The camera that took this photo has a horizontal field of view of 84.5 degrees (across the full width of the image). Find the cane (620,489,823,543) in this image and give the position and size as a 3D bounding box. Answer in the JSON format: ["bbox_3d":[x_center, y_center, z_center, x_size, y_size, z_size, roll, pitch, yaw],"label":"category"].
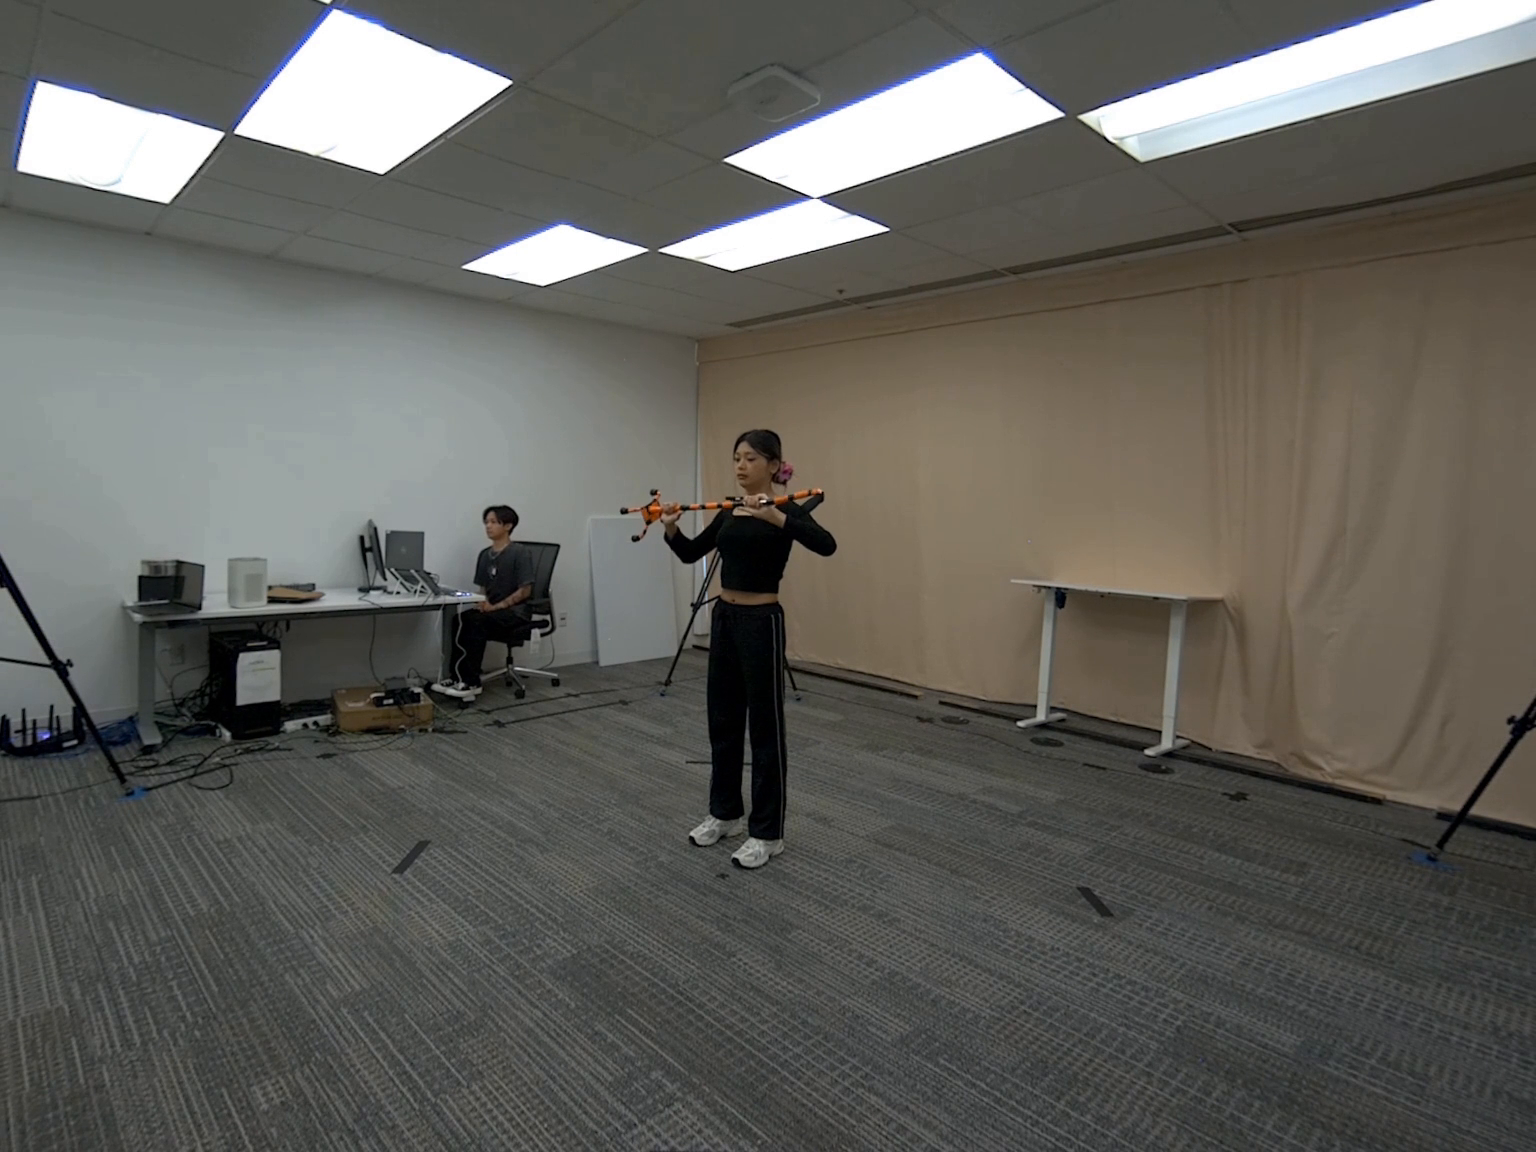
[{"bbox_3d":[-0.167,-0.248,3.088,0.929,0.149,0.205,0,29,43],"label":"cane"}]
